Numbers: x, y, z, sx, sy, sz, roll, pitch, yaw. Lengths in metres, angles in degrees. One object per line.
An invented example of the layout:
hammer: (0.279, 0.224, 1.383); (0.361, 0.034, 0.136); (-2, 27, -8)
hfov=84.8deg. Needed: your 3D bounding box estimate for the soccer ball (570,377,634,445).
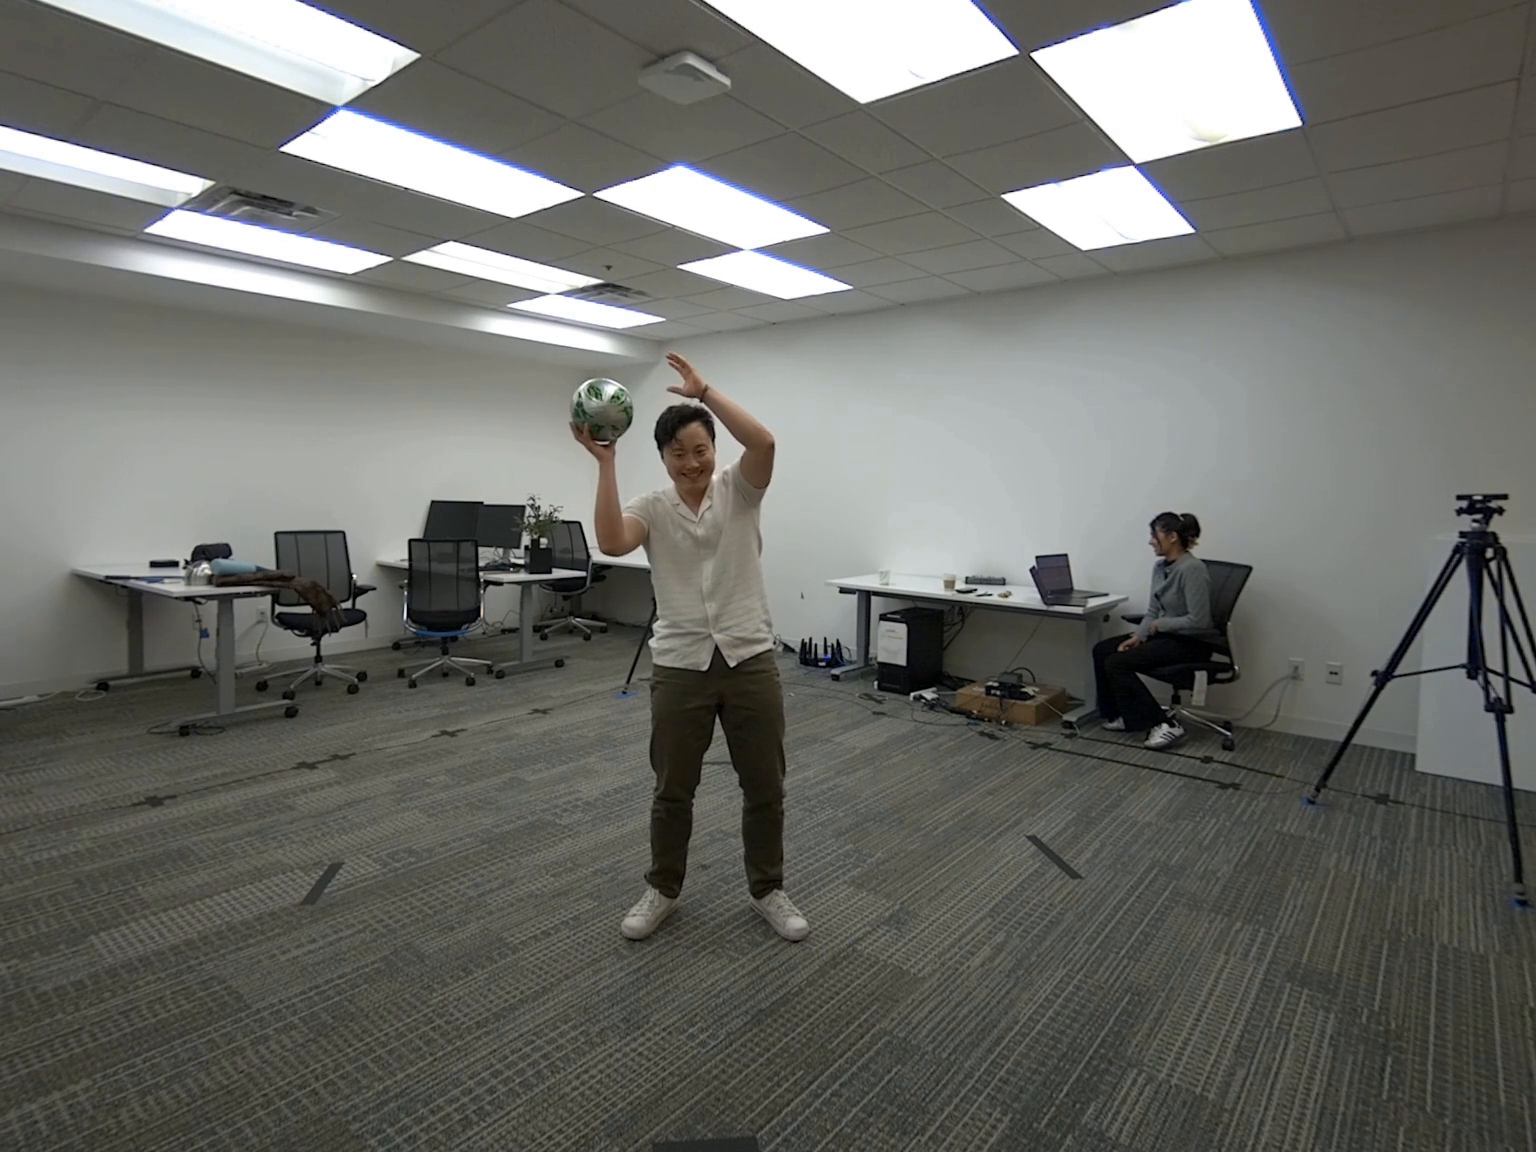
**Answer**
soccer ball: (-0.488, -0.489, 2.505); (0.187, 0.187, 0.188); (1, 4, -2)
